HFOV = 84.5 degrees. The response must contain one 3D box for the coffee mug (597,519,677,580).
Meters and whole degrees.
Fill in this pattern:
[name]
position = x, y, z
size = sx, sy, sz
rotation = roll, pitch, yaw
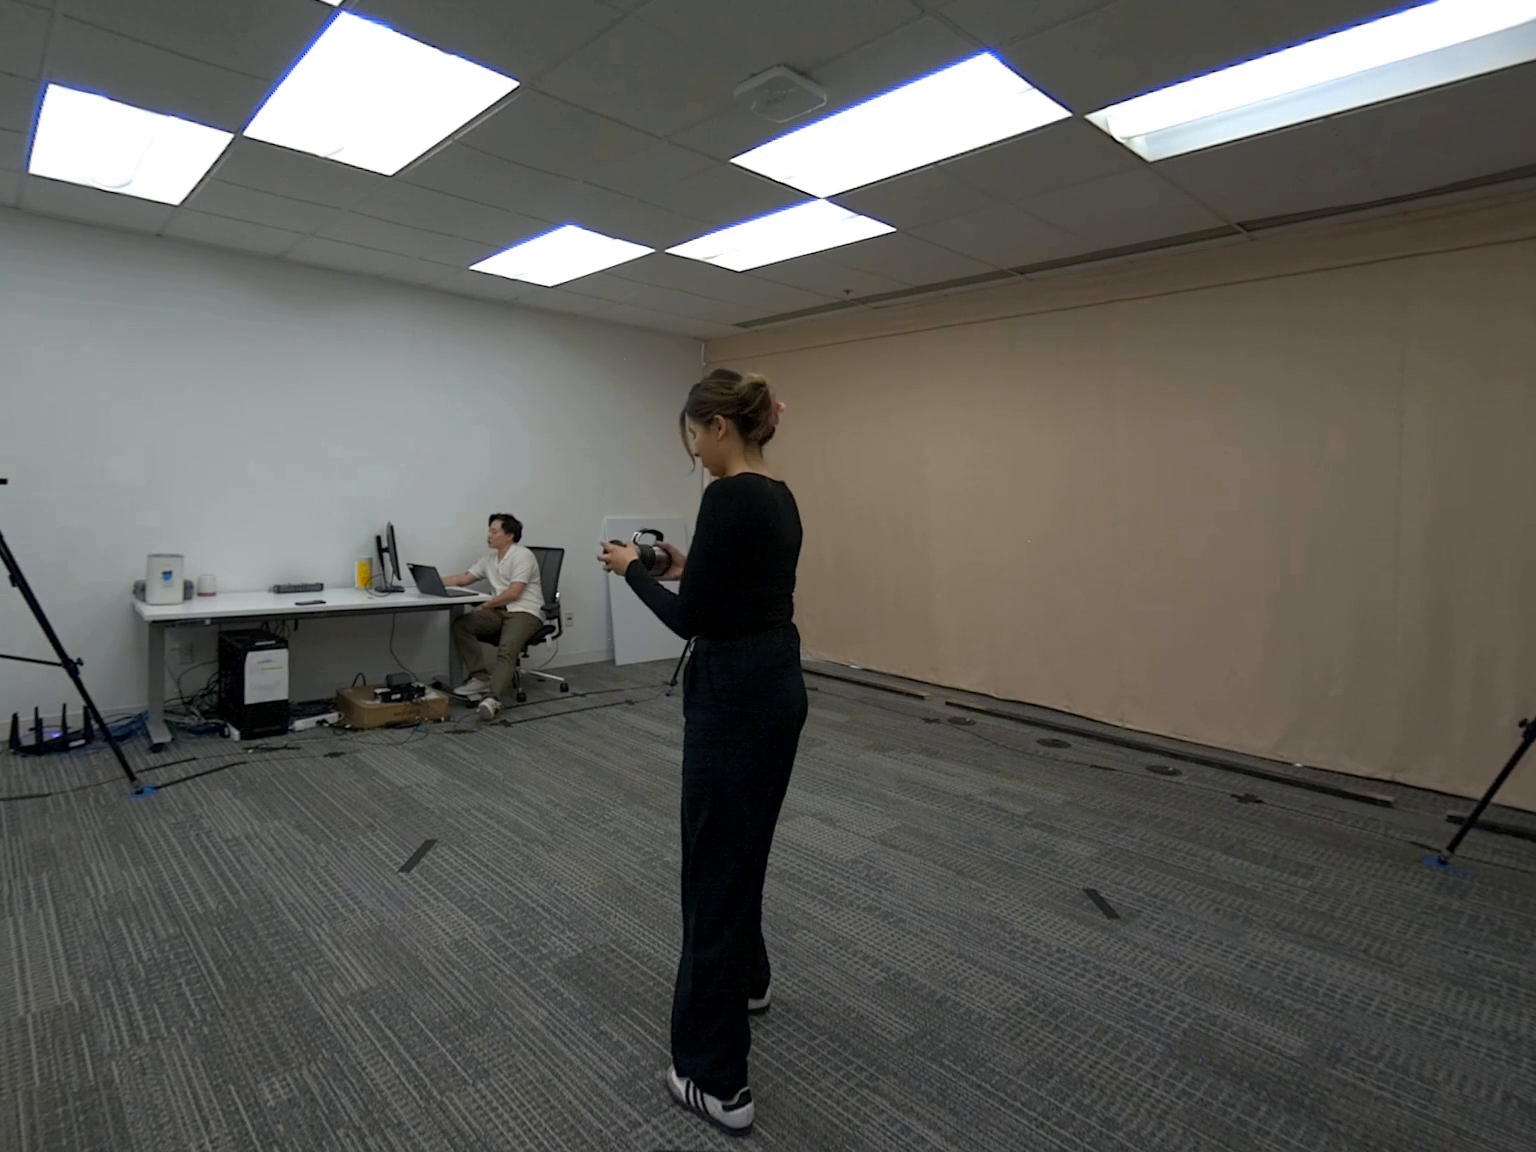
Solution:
[coffee mug]
position = -0.338, -0.063, 2.229
size = 0.089, 0.124, 0.198
rotation = -25, -16, 25
